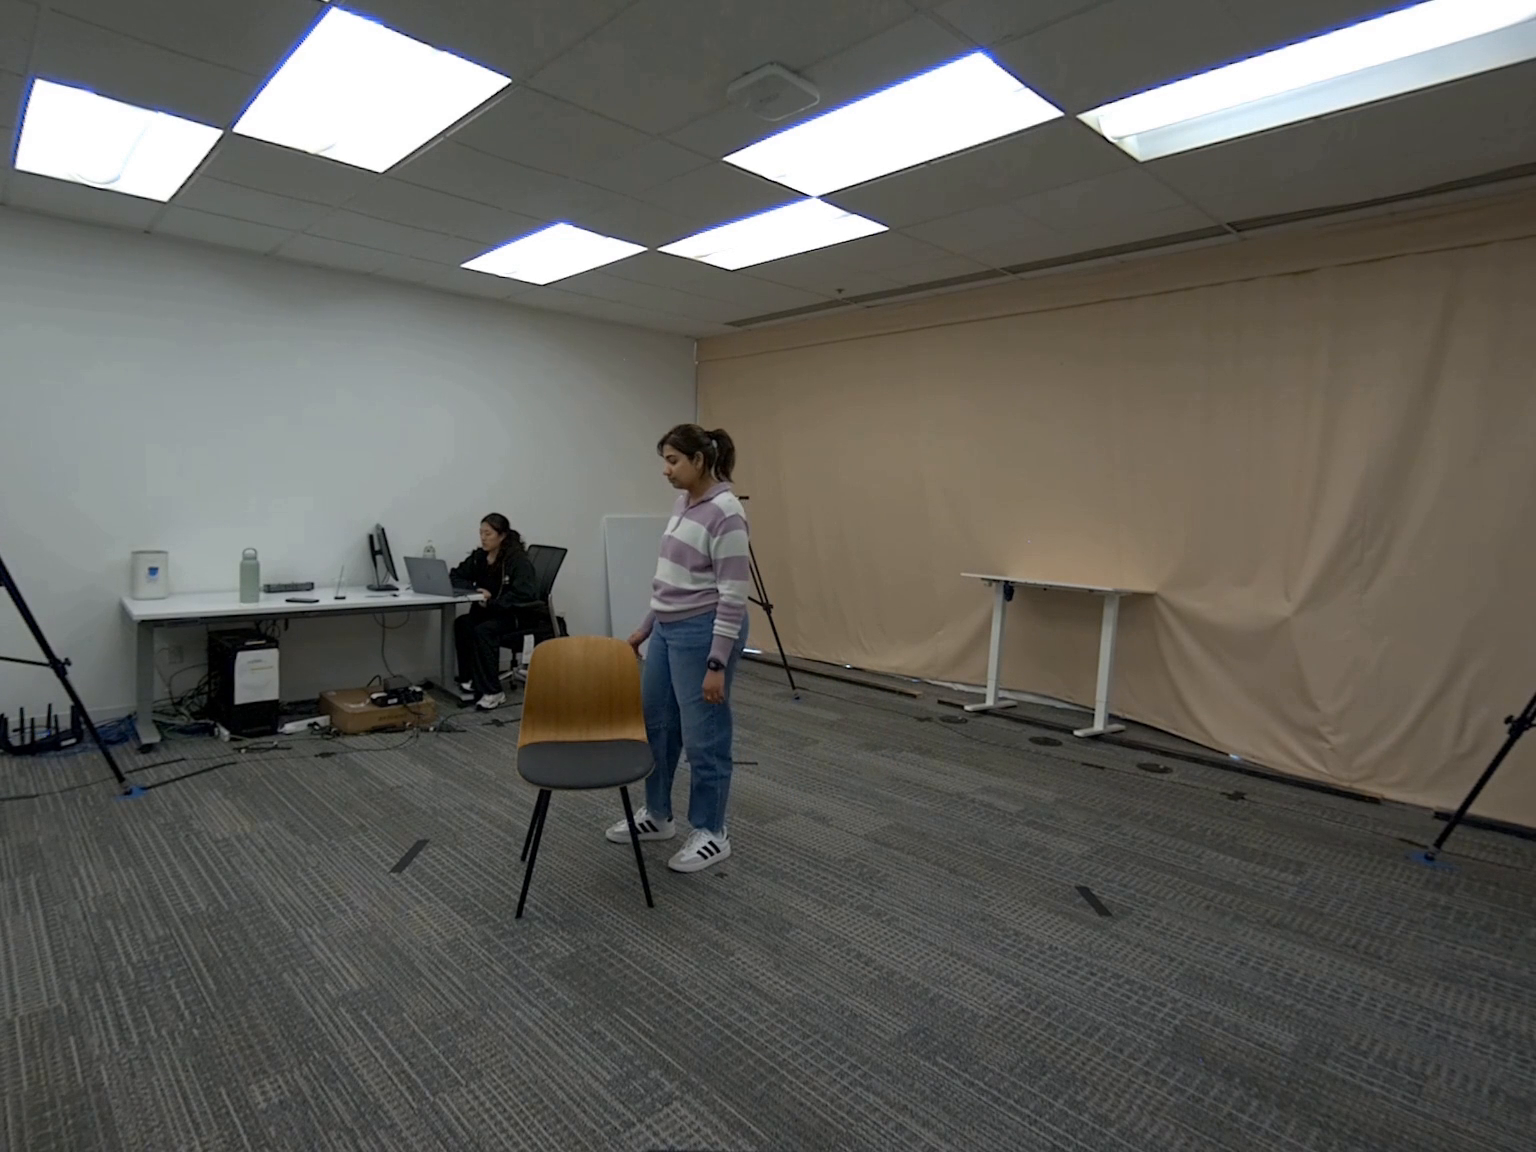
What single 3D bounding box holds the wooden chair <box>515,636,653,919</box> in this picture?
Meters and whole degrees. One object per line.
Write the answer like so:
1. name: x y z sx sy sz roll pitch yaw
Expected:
1. wooden chair: -0.651 0.681 2.968 0.473 0.878 0.529 1 0 -14
